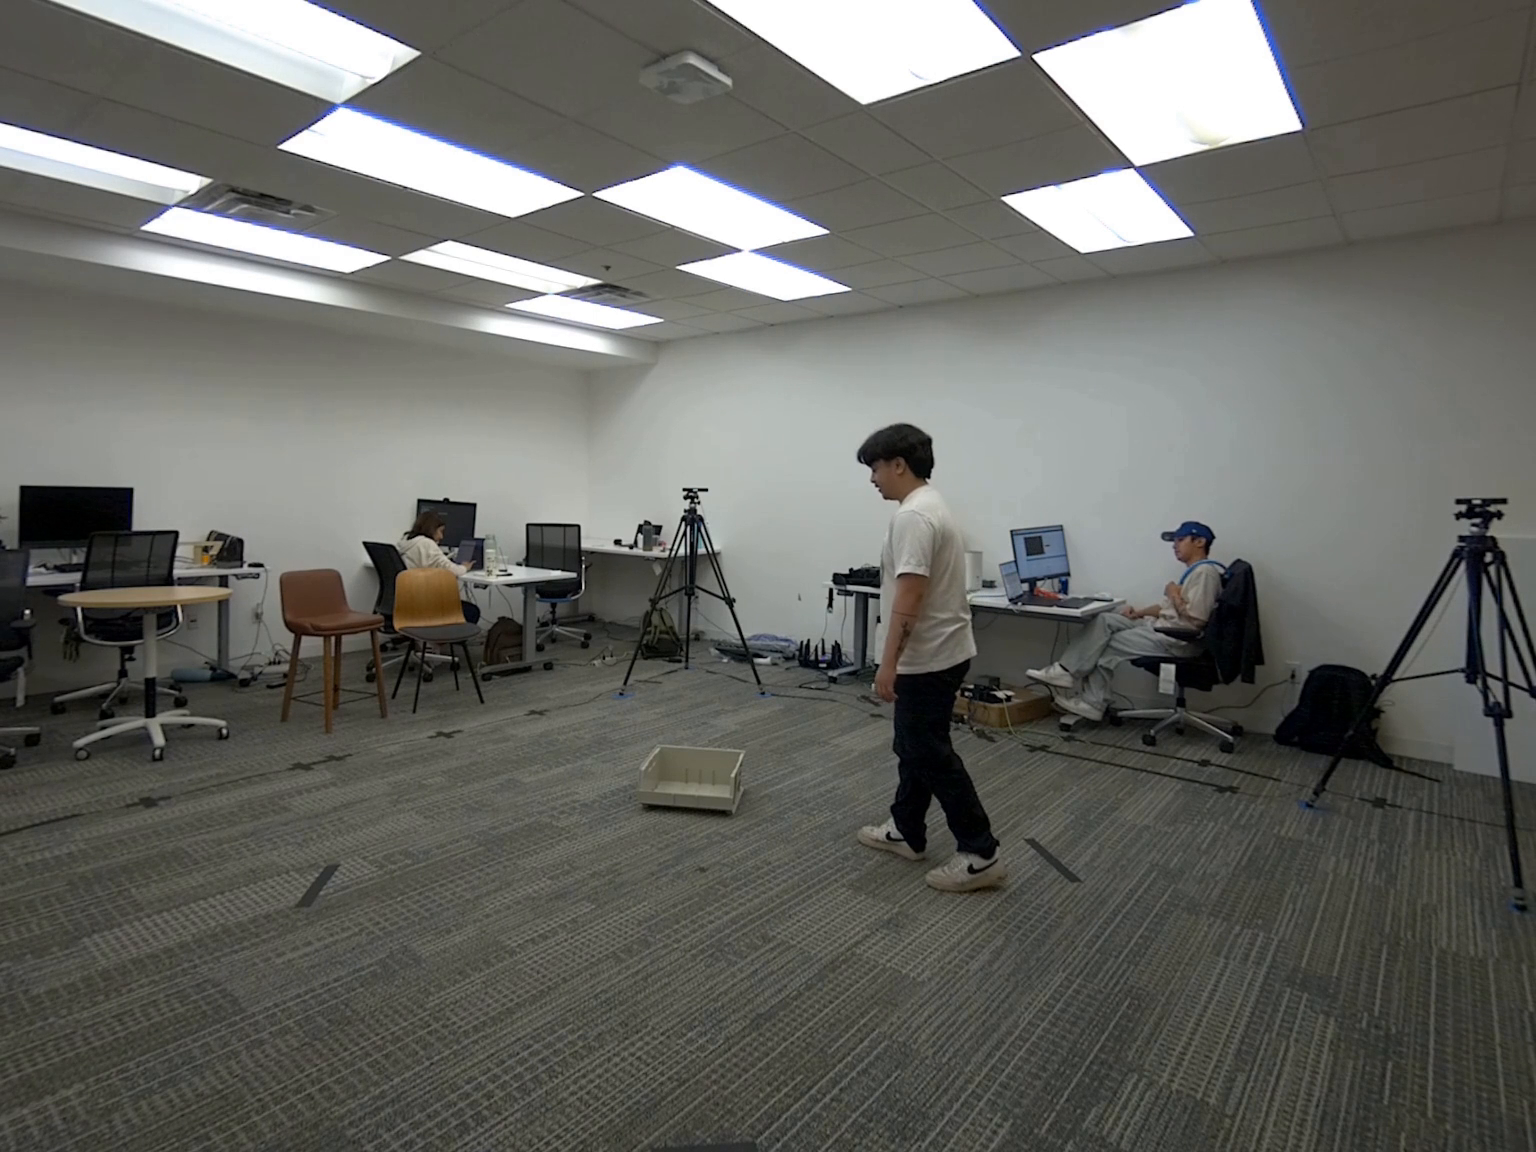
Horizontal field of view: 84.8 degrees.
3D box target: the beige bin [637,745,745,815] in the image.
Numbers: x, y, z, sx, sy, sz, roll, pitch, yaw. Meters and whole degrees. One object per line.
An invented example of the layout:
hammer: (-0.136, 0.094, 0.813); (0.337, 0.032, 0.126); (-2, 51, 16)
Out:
beige bin: (-0.344, 0.911, 3.810); (0.426, 0.188, 0.375); (1, 4, 7)
